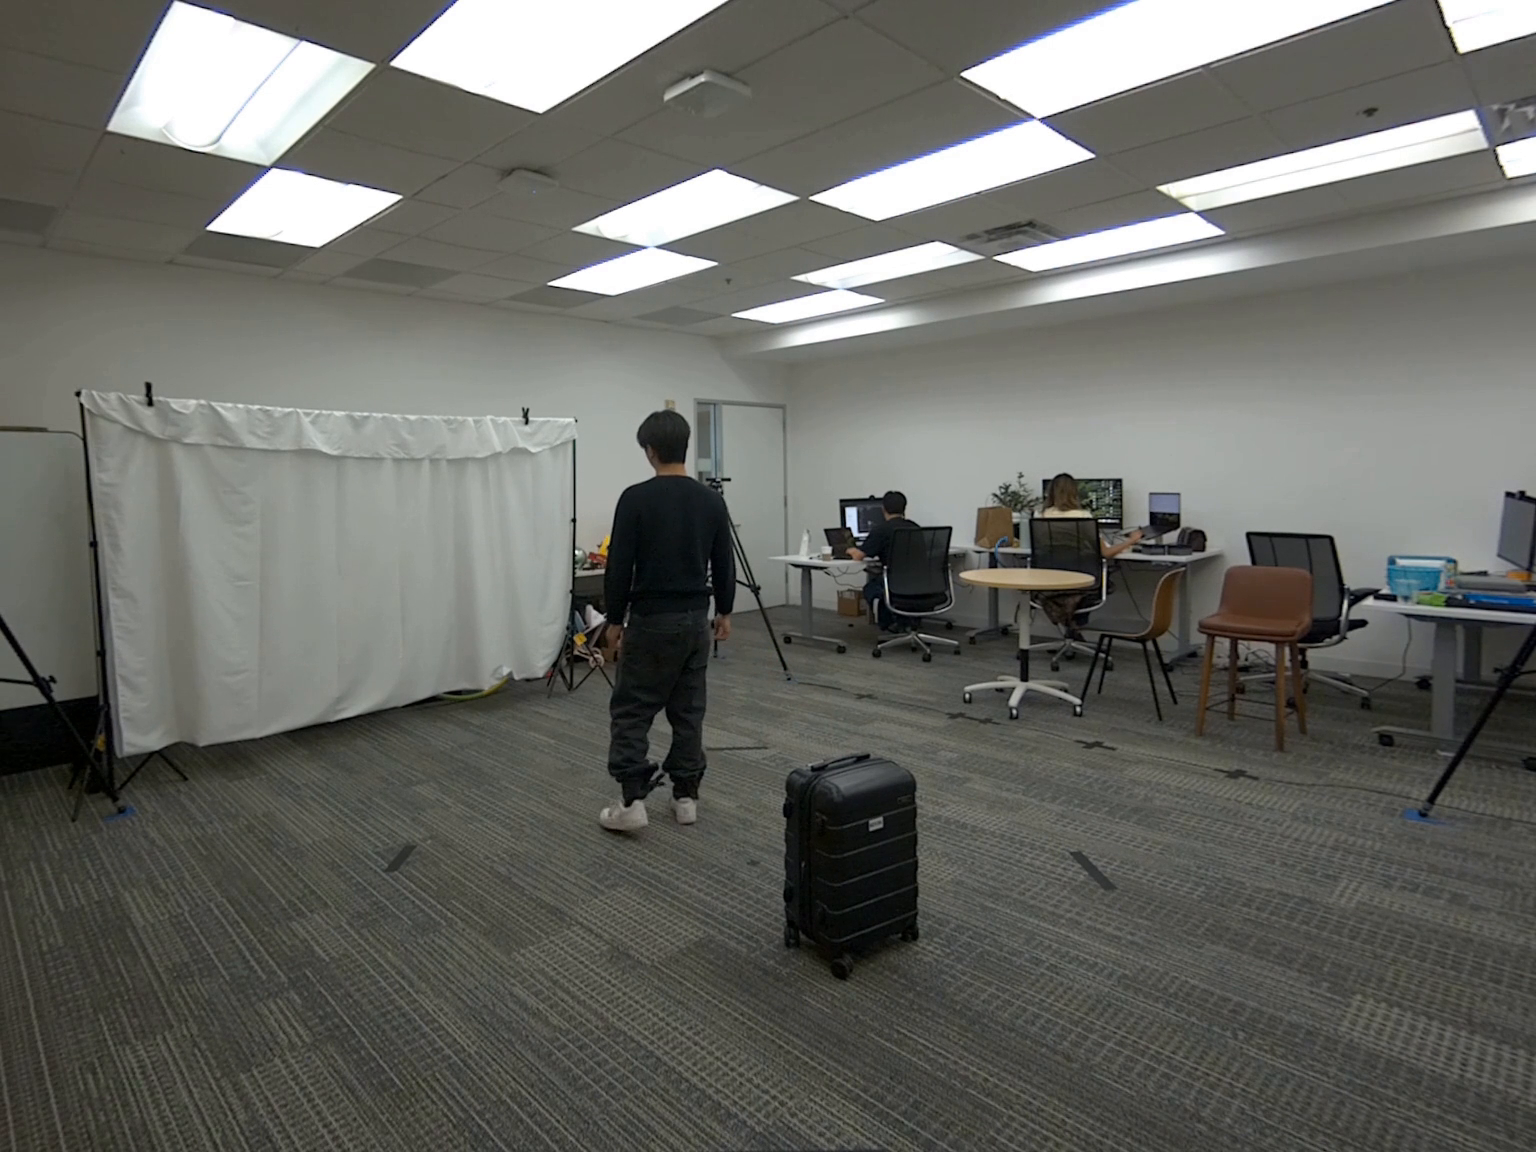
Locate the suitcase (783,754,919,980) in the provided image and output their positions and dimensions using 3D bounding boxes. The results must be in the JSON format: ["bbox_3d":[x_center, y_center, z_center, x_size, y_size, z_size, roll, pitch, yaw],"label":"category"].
[{"bbox_3d":[0.256,0.824,2.549,0.366,0.547,0.255,-3,5,-35],"label":"suitcase"}]
